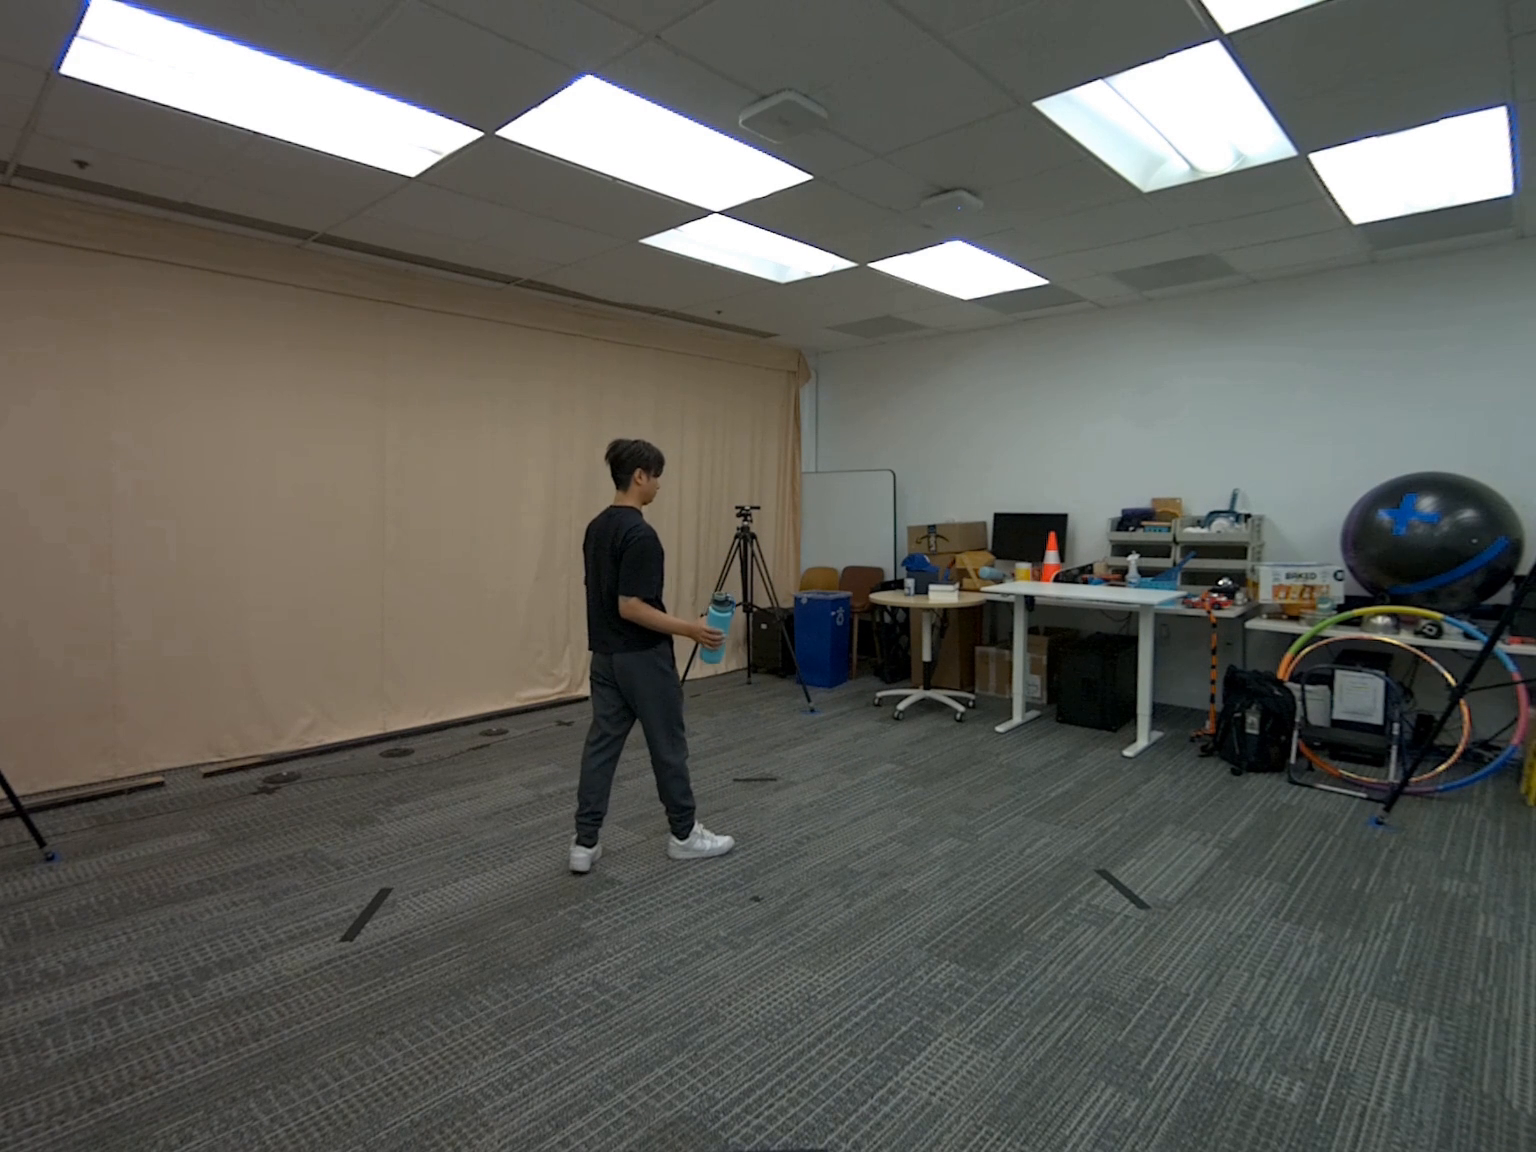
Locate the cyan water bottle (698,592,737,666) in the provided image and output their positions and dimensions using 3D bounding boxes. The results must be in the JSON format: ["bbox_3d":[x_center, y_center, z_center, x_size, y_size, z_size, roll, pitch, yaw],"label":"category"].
[{"bbox_3d":[-0.188,0.178,3.129,0.092,0.280,0.094,7,26,-5],"label":"cyan water bottle"}]
